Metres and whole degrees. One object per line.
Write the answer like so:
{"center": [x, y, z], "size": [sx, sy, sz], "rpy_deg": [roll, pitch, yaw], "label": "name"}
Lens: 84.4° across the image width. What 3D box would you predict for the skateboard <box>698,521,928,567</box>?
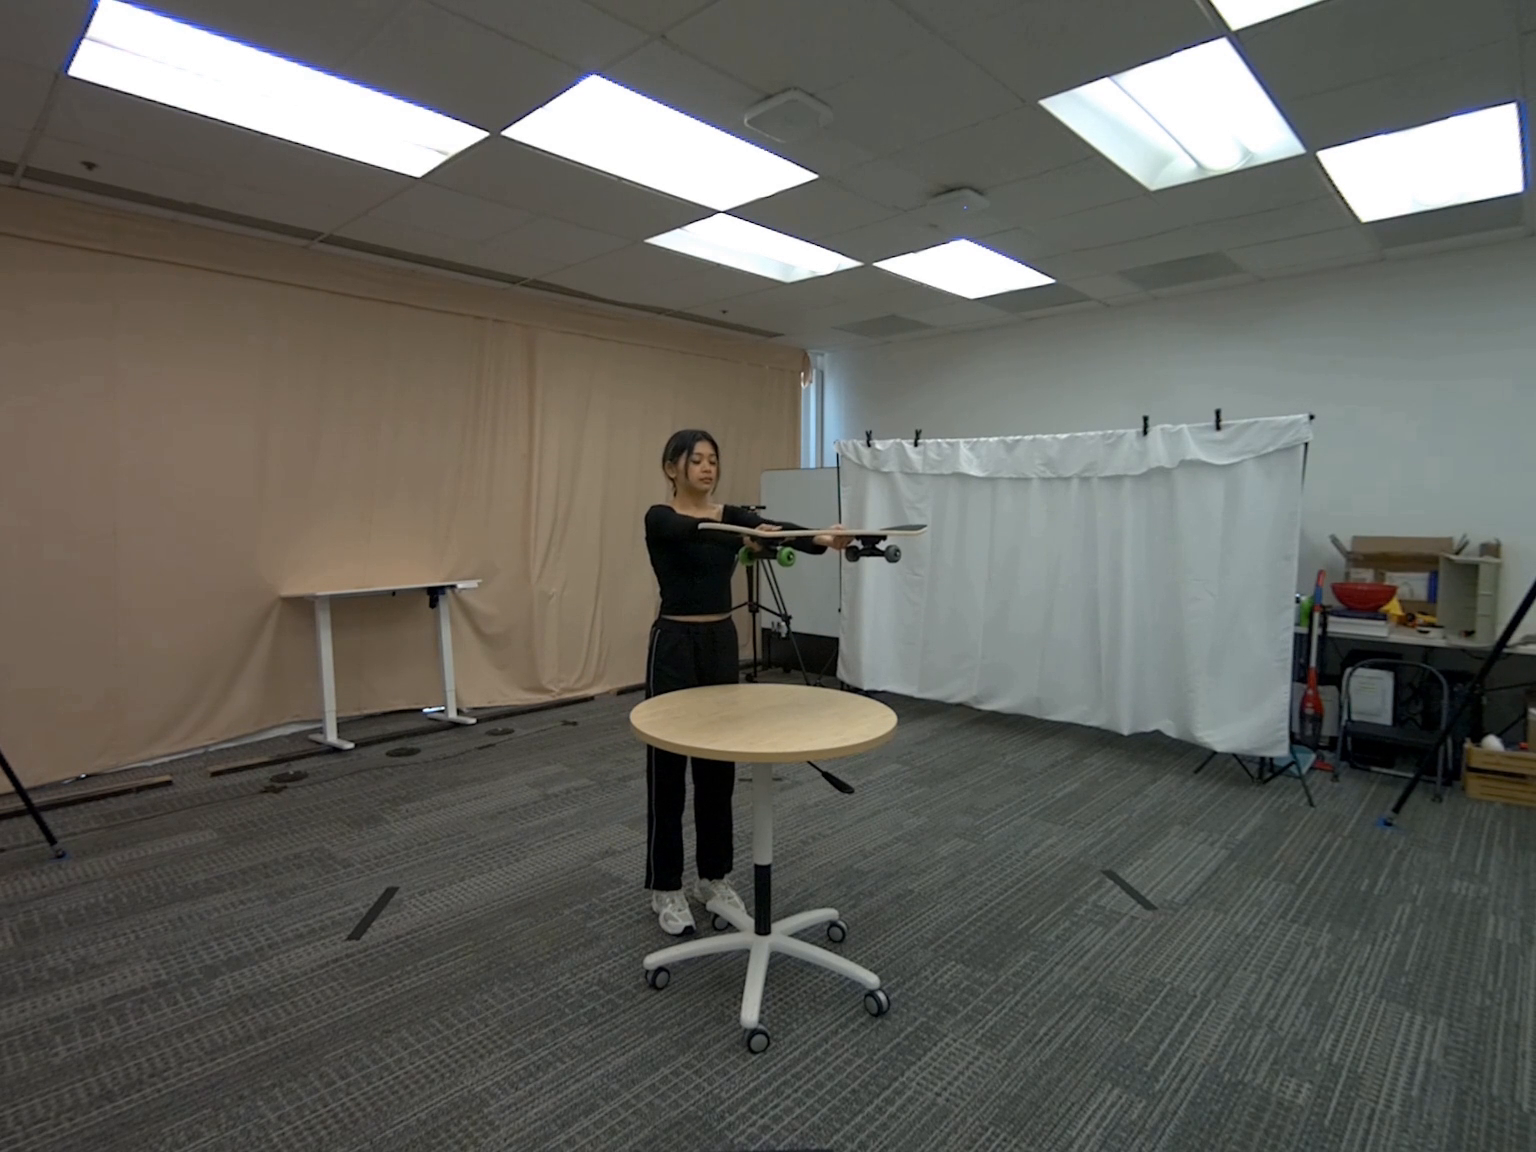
{"center": [0.142, -0.085, 2.292], "size": [0.762, 0.110, 0.200], "rpy_deg": [-3, 4, -38], "label": "skateboard"}
